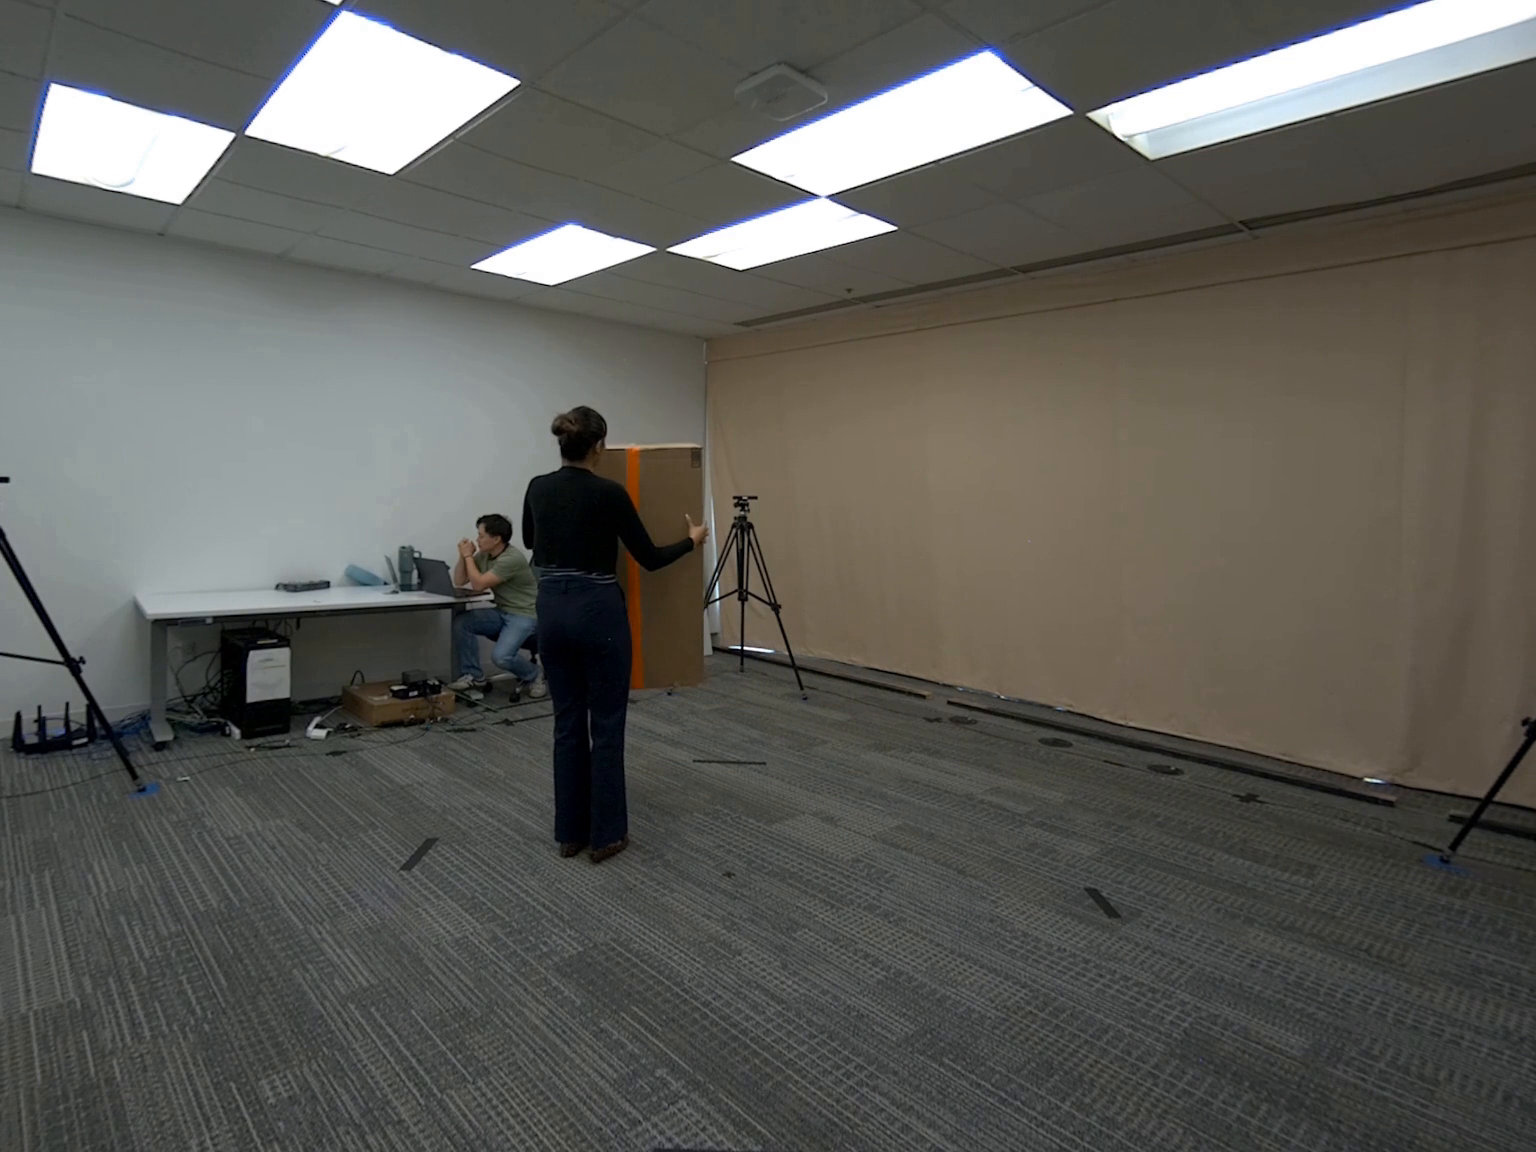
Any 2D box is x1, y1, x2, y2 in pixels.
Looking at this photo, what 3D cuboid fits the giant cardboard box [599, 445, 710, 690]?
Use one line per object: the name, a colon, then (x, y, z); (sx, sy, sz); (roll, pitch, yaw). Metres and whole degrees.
giant cardboard box: (-0.597, -0.056, 3.697); (0.573, 1.019, 0.432); (-2, 9, -10)
